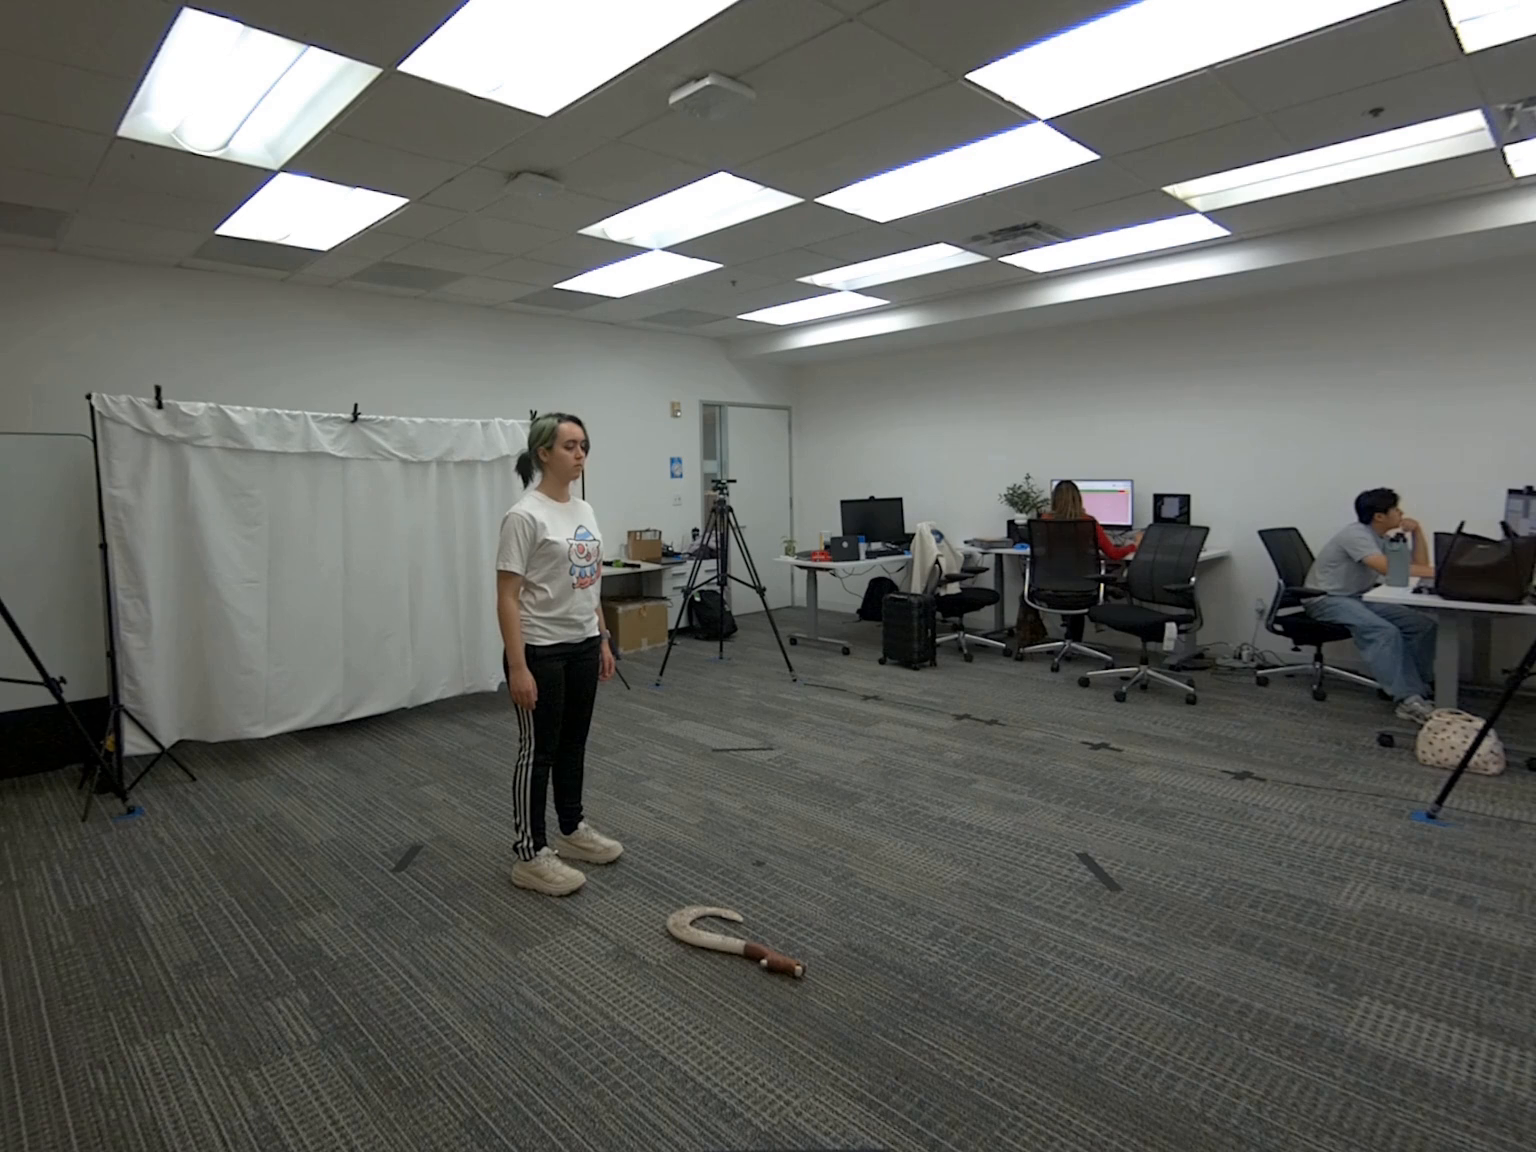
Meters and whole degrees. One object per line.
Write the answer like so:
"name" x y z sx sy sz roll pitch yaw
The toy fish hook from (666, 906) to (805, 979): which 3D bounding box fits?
"toy fish hook" -0.078 1.089 2.576 0.521 0.048 0.219 4 11 36
